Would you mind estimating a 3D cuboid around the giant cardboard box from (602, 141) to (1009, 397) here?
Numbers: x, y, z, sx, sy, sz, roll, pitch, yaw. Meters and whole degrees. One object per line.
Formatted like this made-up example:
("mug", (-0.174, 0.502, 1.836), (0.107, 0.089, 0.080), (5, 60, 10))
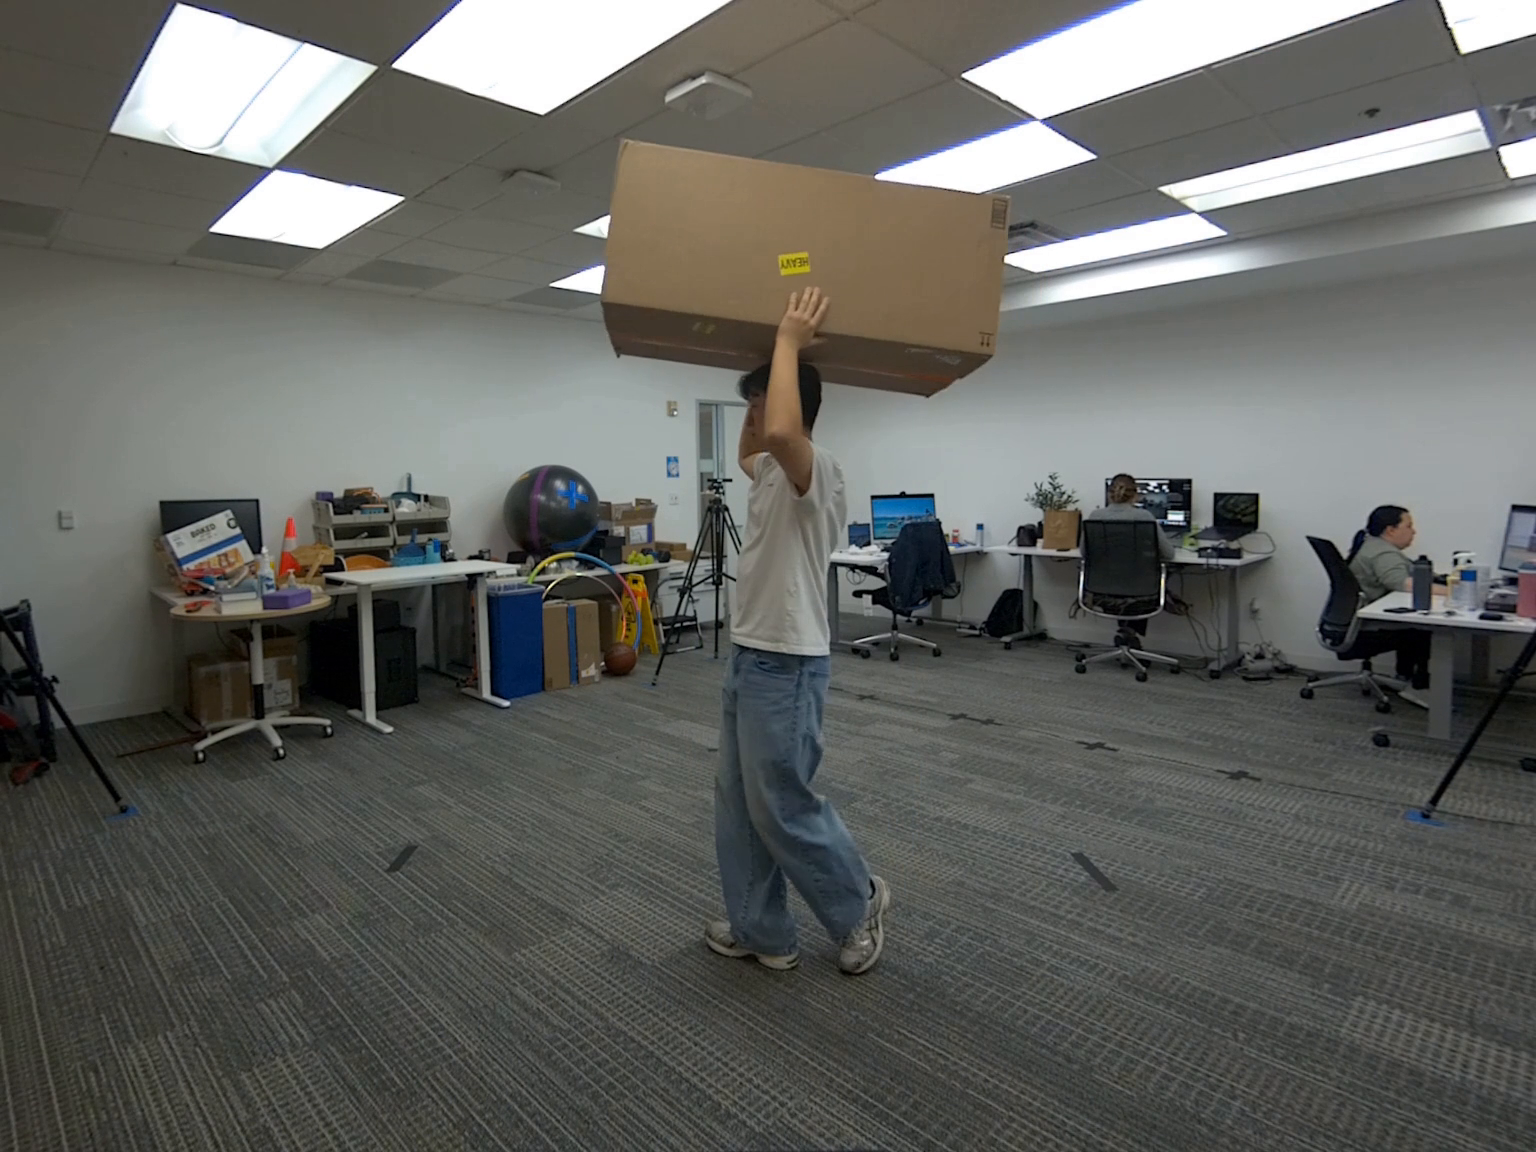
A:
("giant cardboard box", (0.077, -0.835, 2.460), (1.022, 0.427, 0.579), (7, -1, -4))
